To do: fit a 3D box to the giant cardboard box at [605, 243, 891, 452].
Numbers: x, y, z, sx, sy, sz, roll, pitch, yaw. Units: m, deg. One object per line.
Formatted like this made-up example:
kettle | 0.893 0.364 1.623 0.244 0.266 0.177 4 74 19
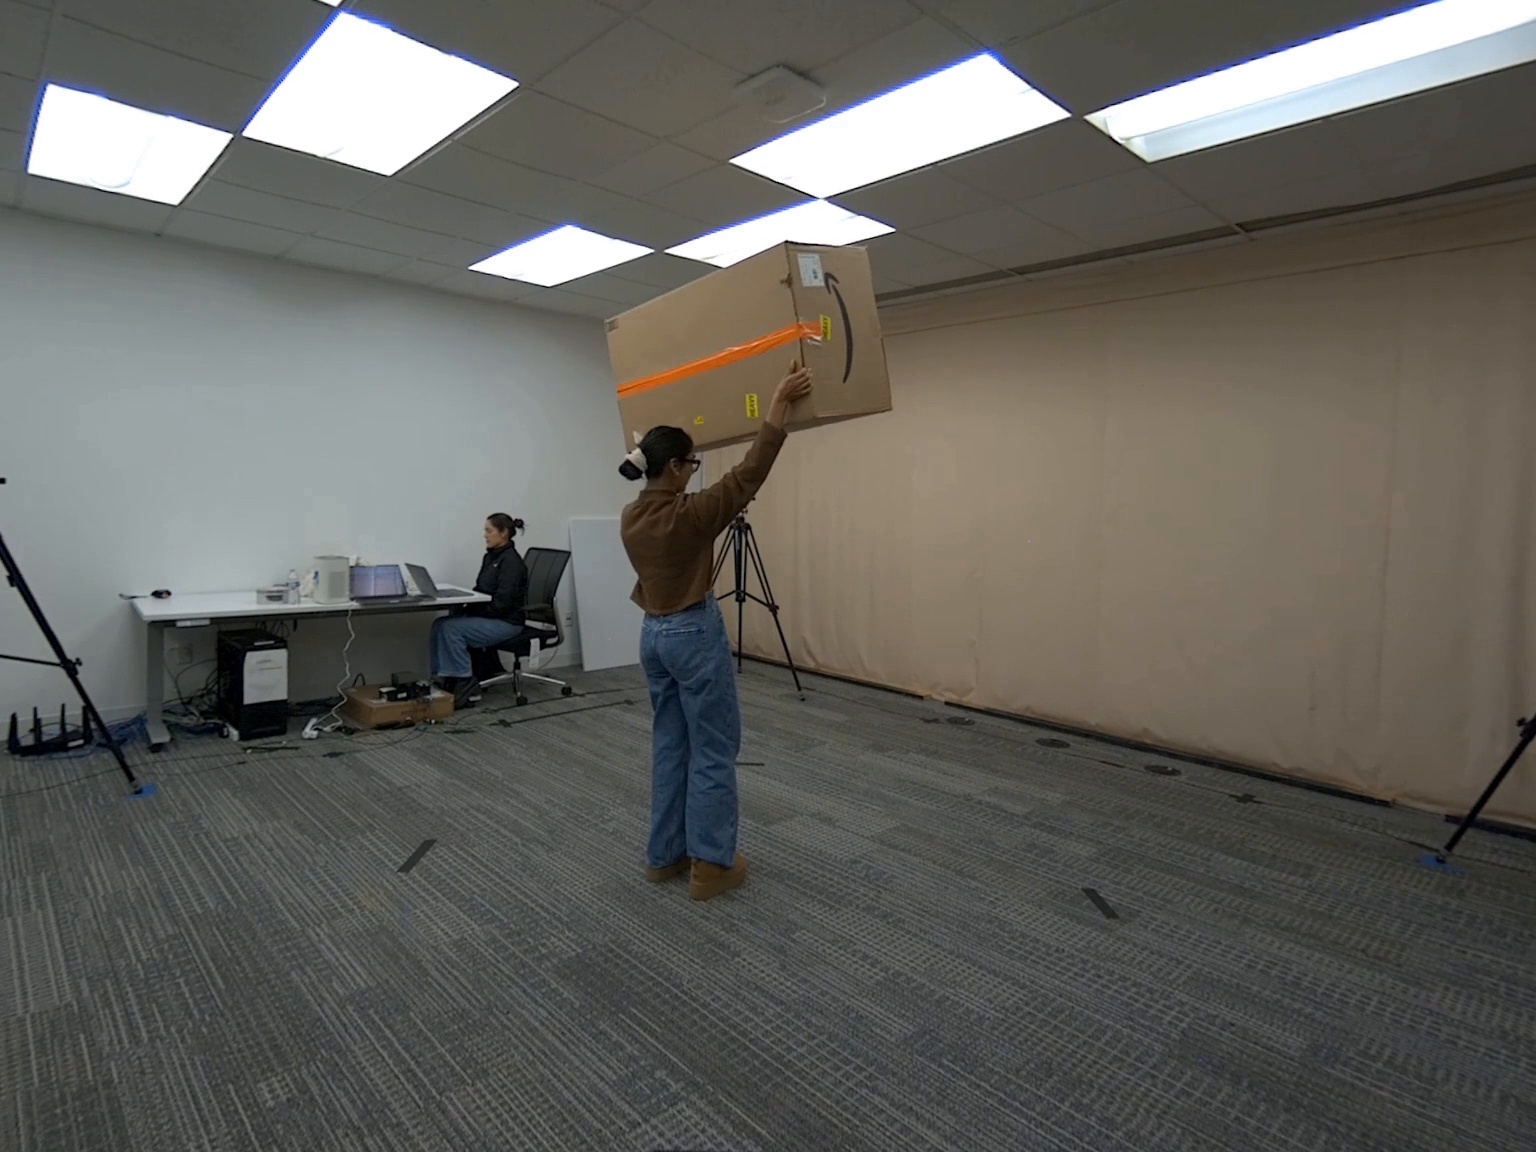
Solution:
giant cardboard box | -0.115 -0.798 3.183 0.419 0.575 1.048 -15 8 -43
